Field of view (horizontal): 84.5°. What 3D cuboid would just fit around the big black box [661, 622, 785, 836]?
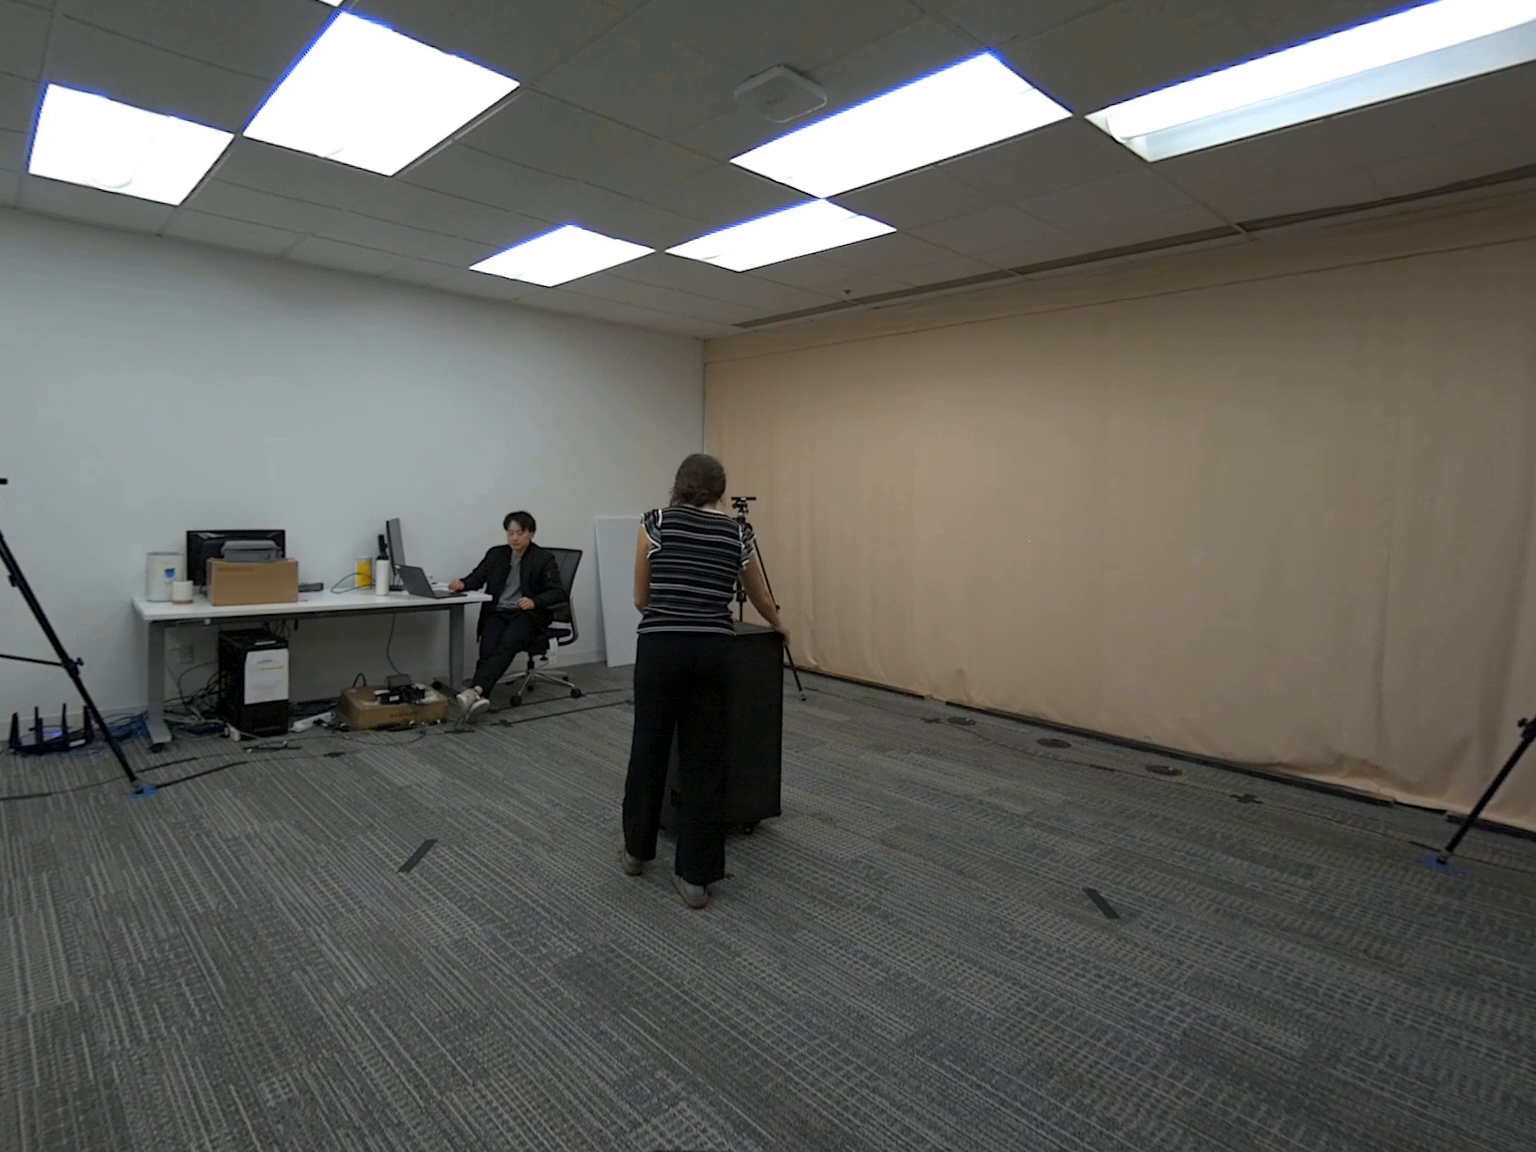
[{"bbox_3d":[-0.252,0.648,3.518,0.510,0.859,0.406,-2,4,-38],"label":"big black box"}]
